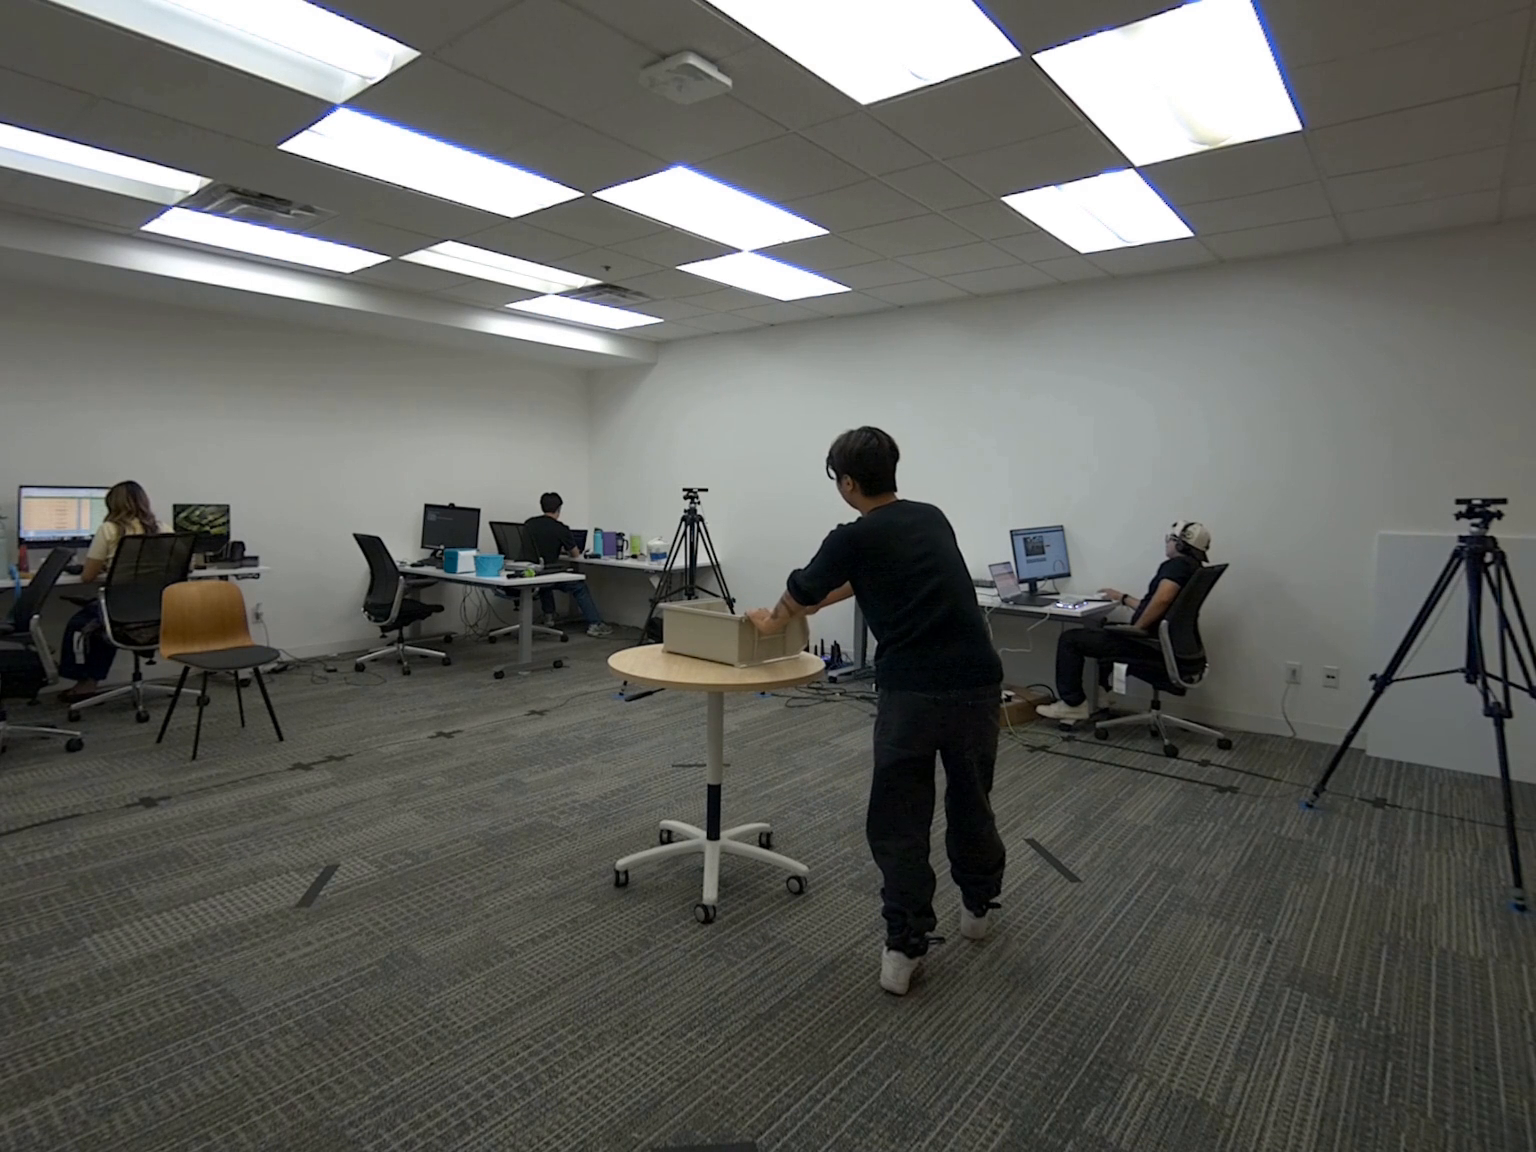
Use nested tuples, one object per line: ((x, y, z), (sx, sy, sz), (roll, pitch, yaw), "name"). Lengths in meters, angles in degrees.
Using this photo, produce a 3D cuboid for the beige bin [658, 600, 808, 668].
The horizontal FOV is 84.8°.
((-0.138, 0.196, 3.133), (0.437, 0.188, 0.366), (5, 8, 43), "beige bin")
